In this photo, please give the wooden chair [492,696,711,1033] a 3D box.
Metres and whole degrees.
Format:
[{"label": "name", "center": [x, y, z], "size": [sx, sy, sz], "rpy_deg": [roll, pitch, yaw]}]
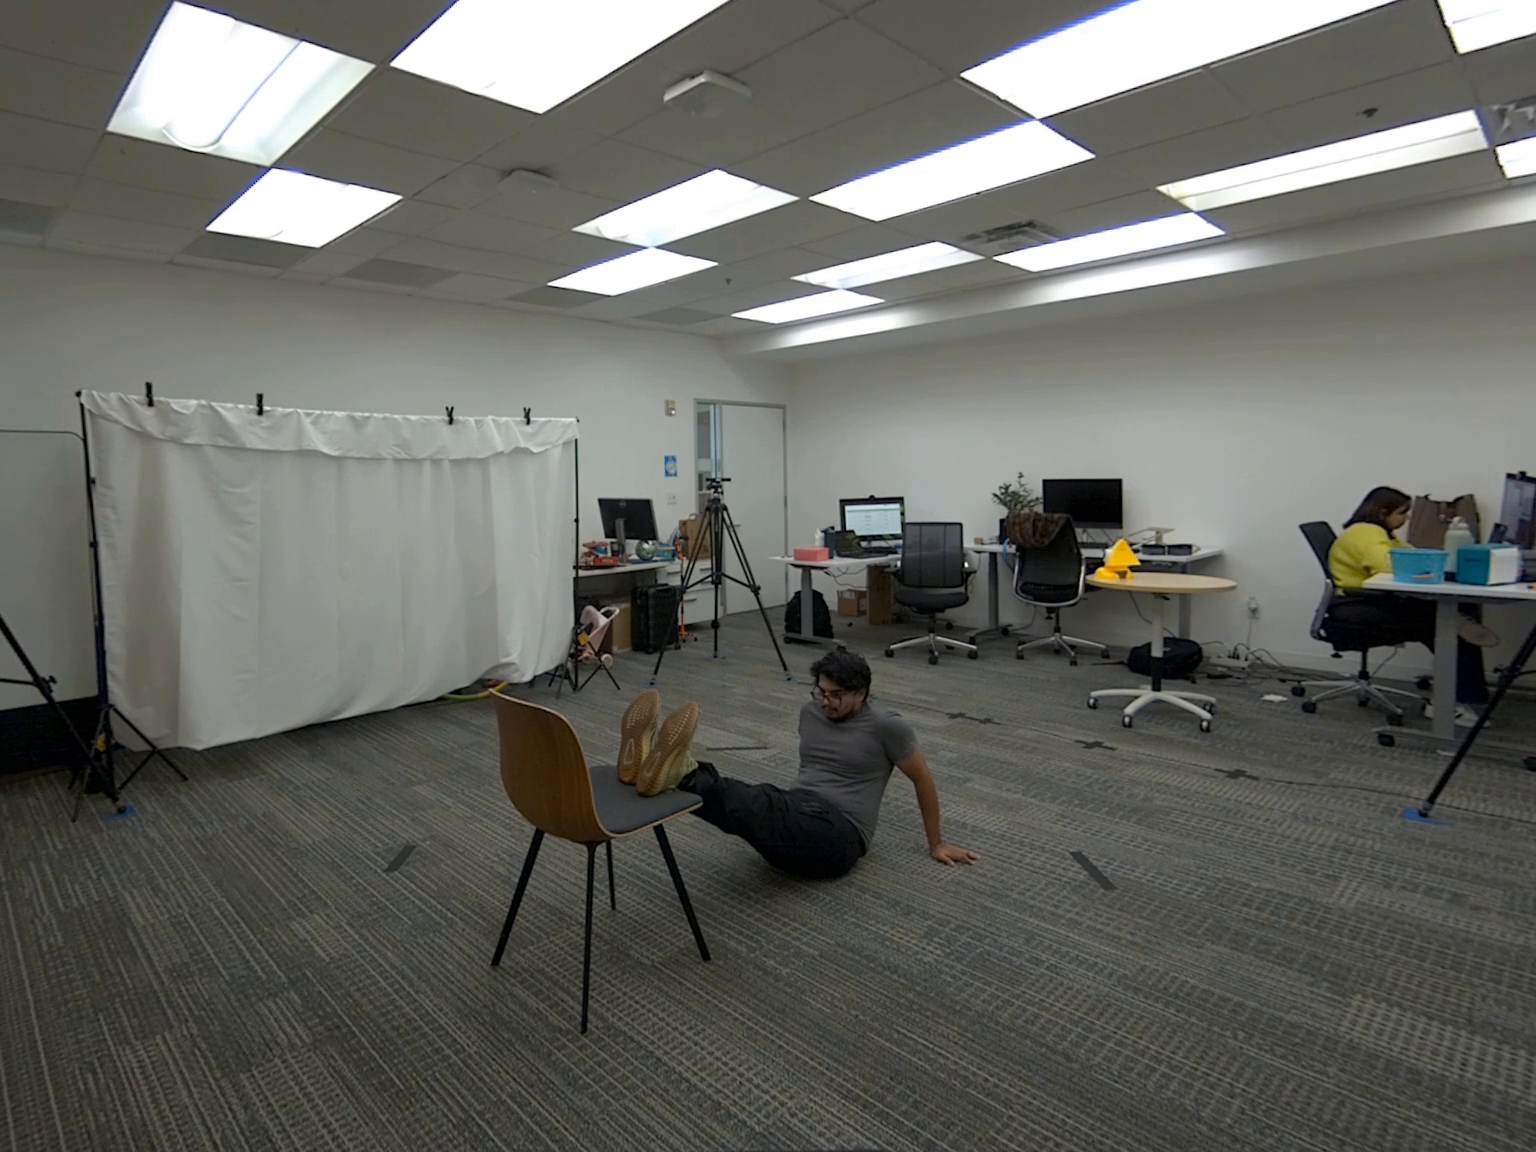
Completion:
[{"label": "wooden chair", "center": [-0.482, 0.704, 2.451], "size": [0.493, 0.871, 0.511], "rpy_deg": [3, 10, 43]}]
